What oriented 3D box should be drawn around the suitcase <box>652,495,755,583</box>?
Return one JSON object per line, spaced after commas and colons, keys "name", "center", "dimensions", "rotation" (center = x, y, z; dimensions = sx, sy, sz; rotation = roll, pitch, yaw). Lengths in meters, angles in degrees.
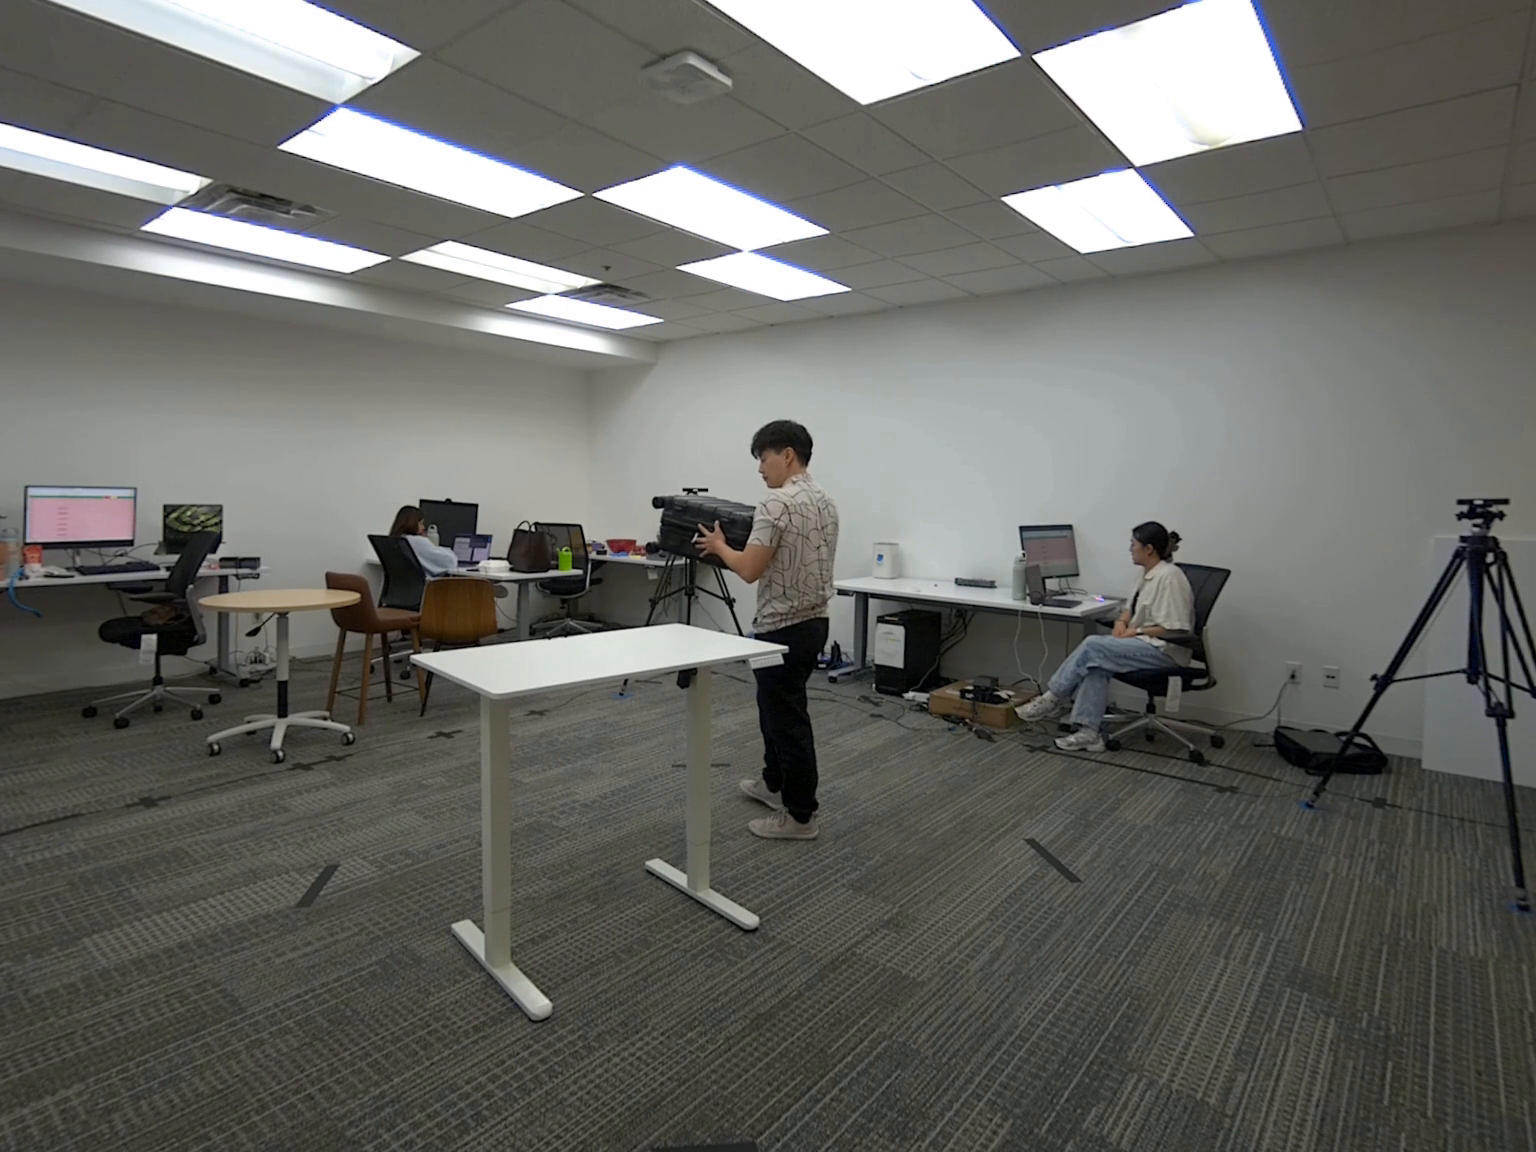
{"name": "suitcase", "center": [-0.214, -0.195, 3.671], "dimensions": [0.569, 0.247, 0.364], "rotation": [14, 10, 35]}
